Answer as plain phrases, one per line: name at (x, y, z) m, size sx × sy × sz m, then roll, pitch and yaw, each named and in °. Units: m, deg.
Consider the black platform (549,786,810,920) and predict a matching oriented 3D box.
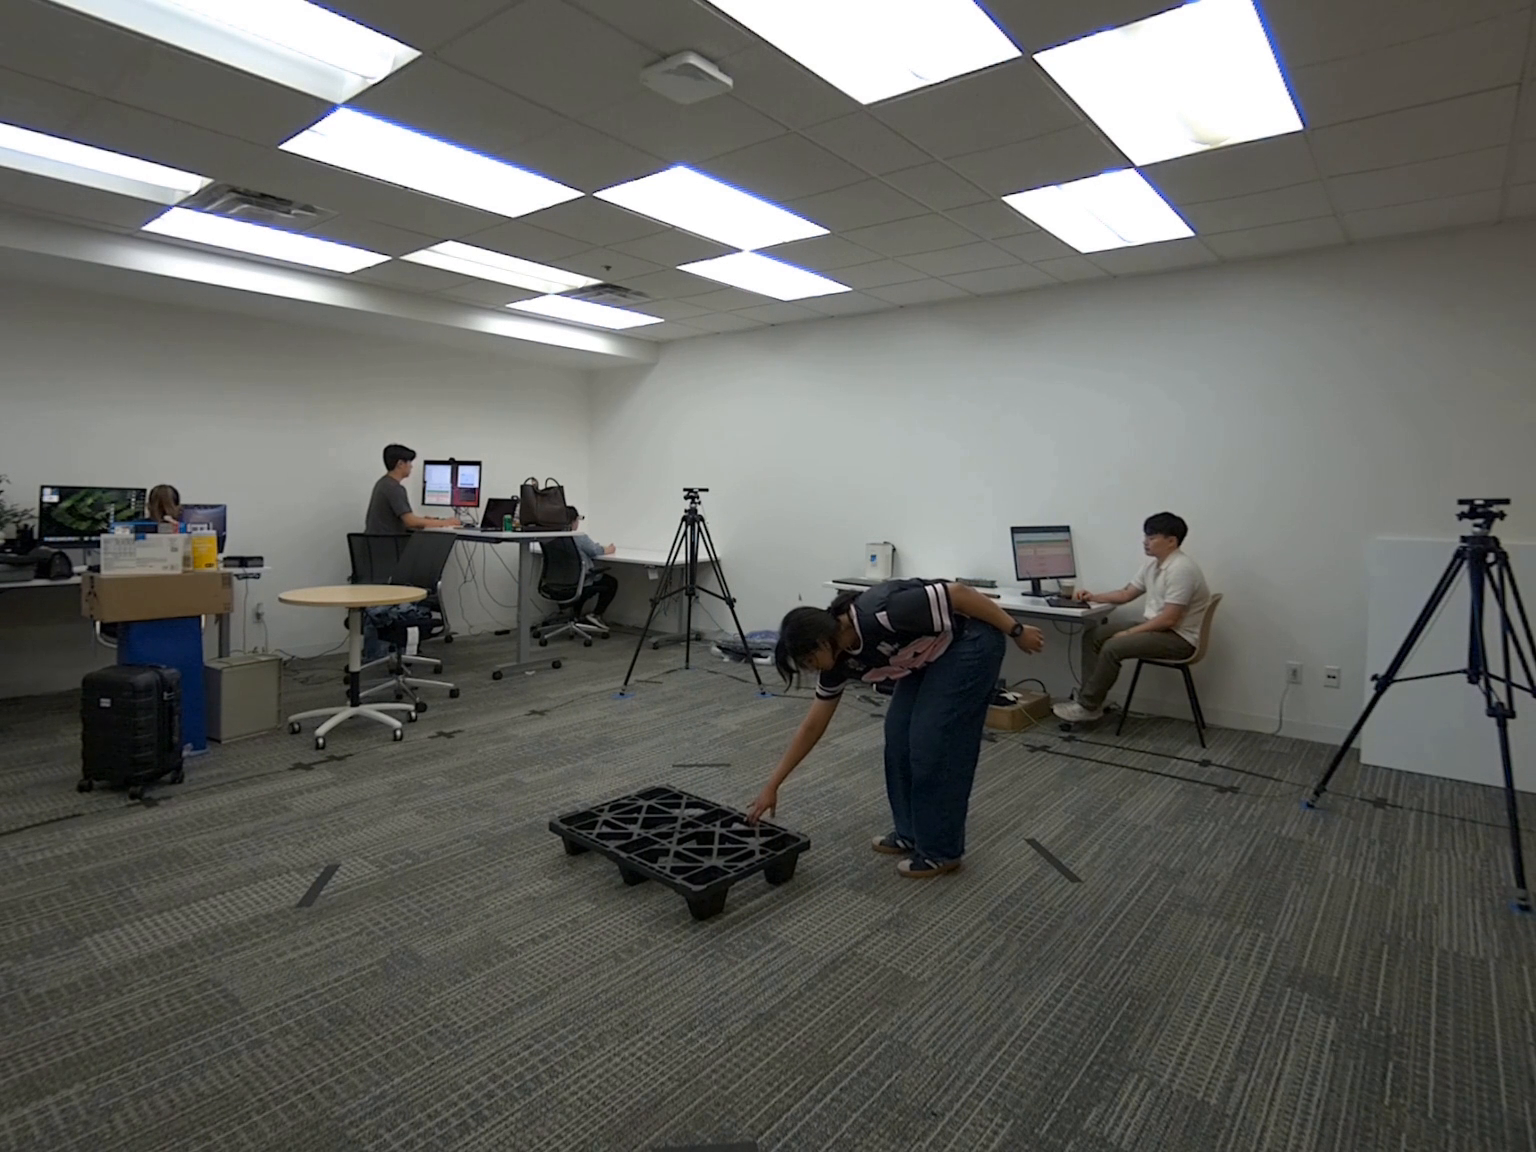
black platform at (-0.344, 0.998, 3.148) m, size 0.833 × 0.143 × 0.587 m, roll 6°, pitch 7°, yaw 42°
